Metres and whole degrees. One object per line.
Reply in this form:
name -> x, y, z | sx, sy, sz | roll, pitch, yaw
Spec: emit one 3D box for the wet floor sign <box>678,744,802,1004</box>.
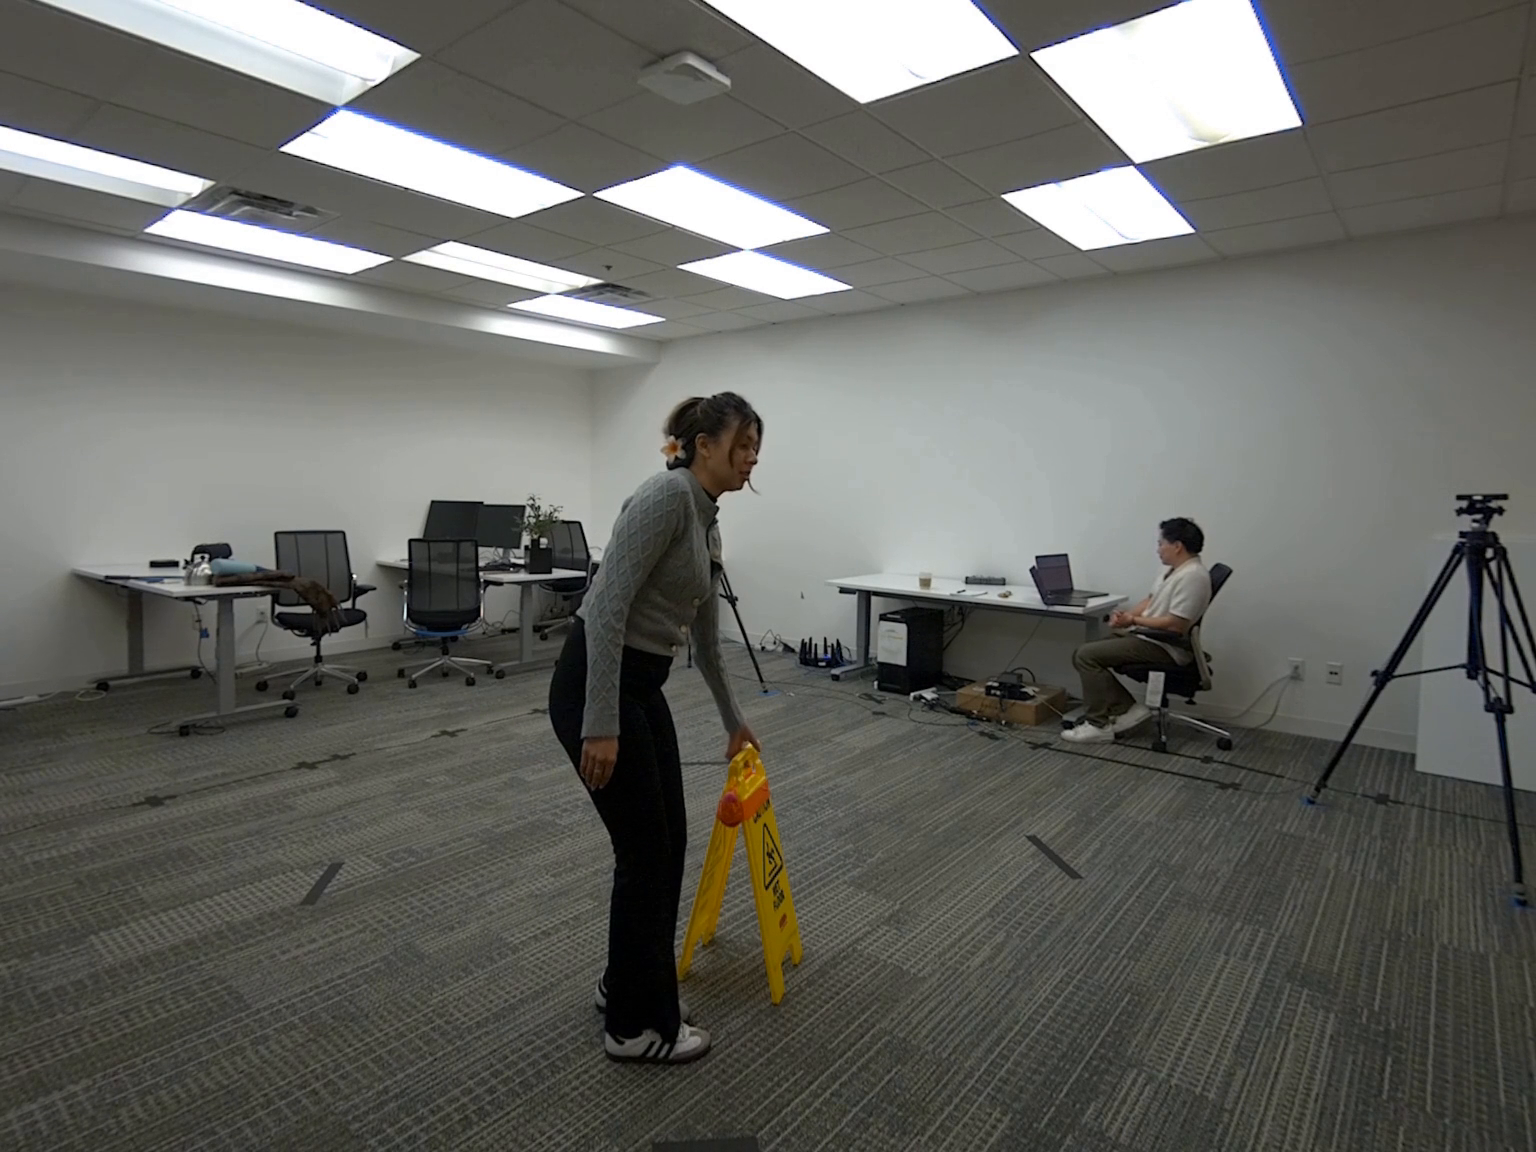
wet floor sign -> -0.075, 0.810, 2.447 | 0.296, 0.643, 0.278 | 3, 5, 19
